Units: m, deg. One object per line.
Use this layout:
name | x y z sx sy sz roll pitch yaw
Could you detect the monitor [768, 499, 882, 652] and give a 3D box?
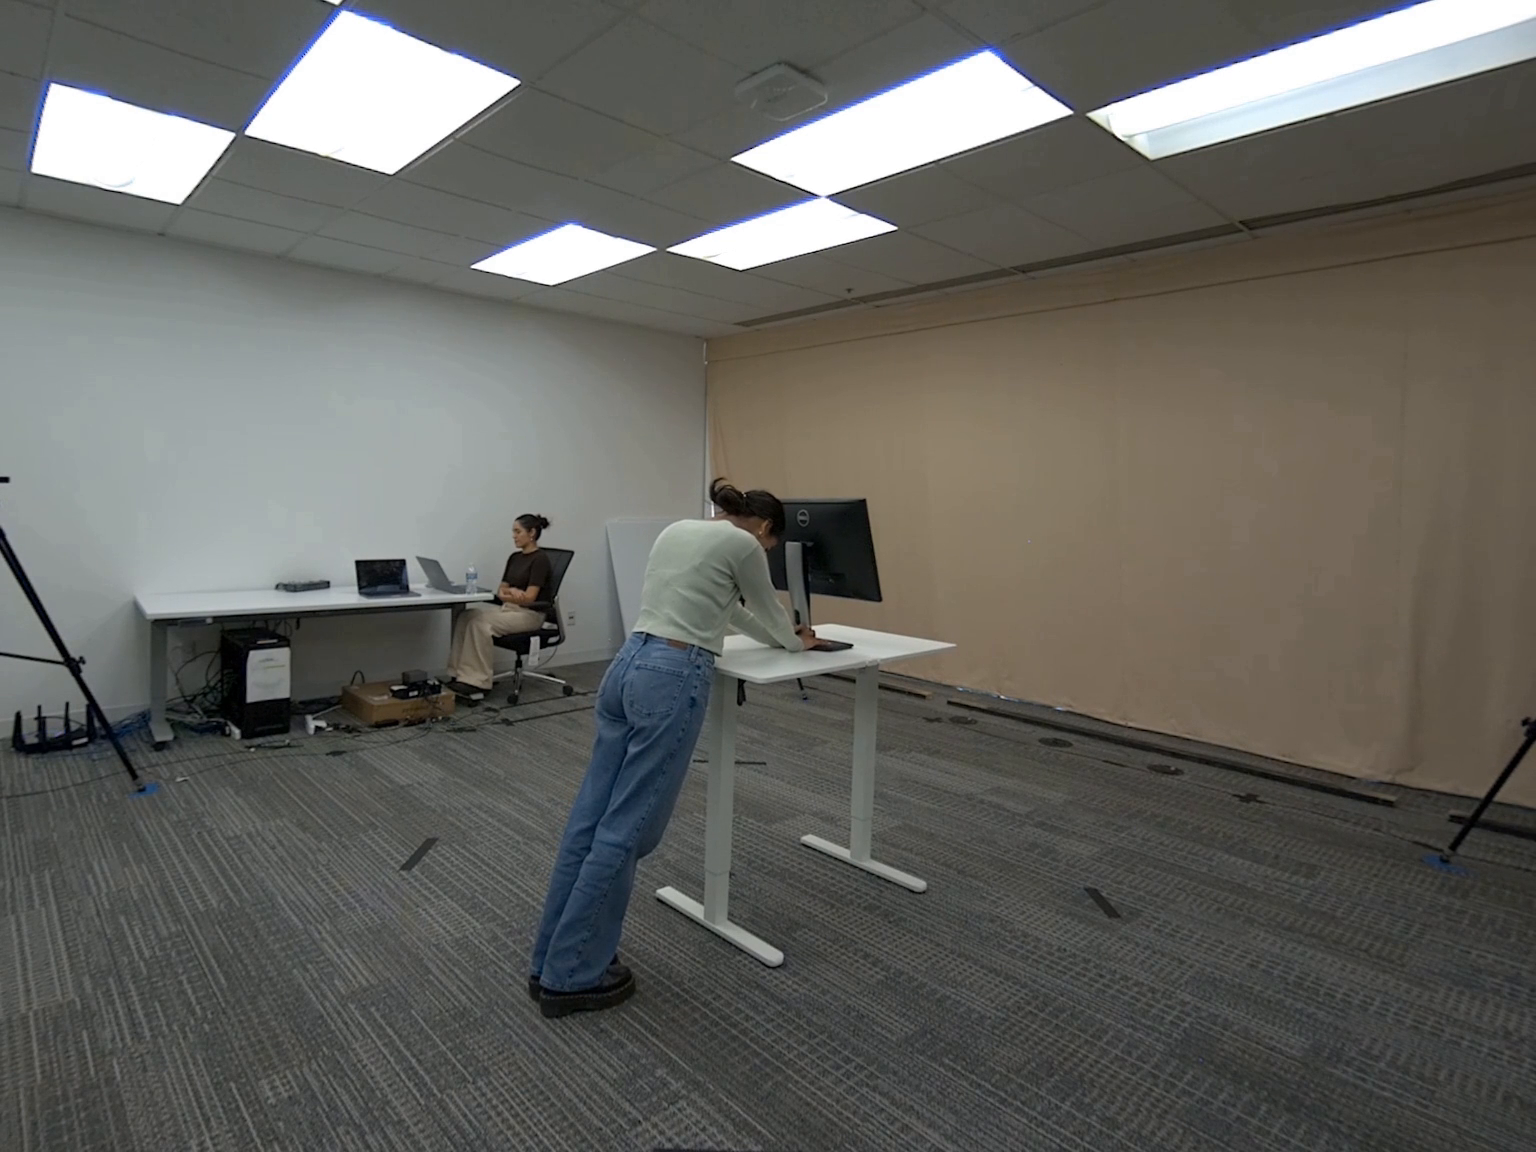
monitor | 0.139 -0.010 2.933 0.183 0.521 0.552 -4 5 -41
